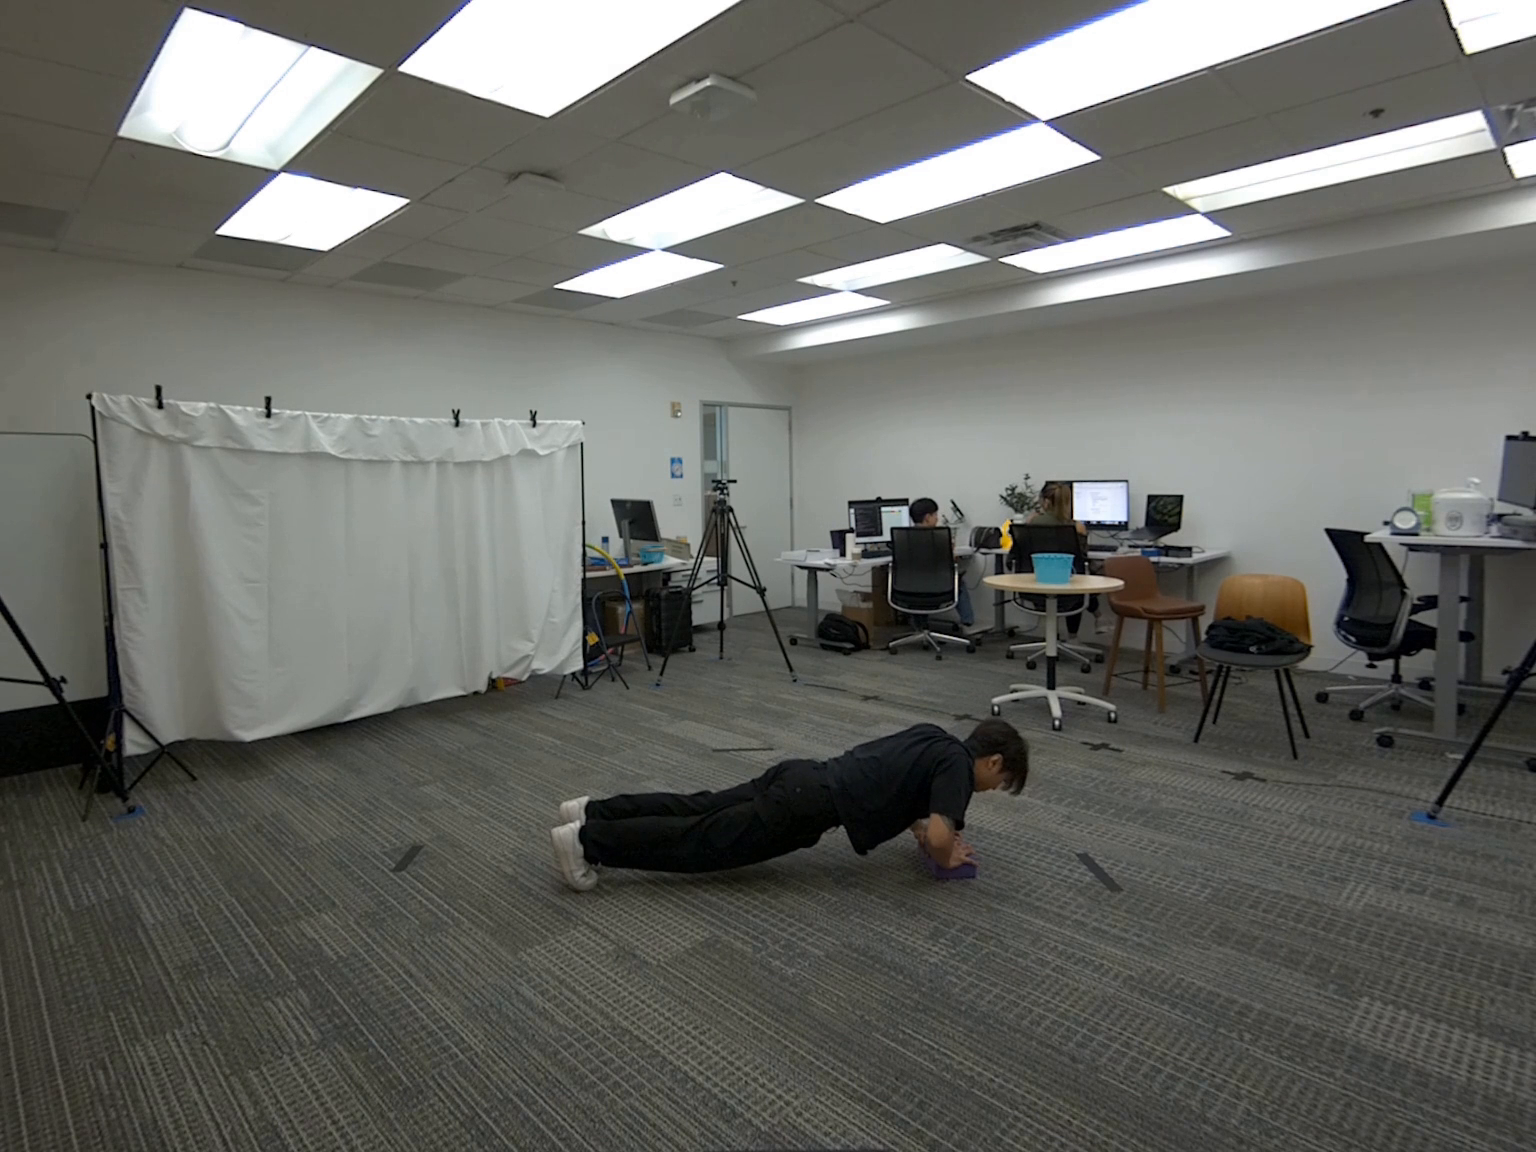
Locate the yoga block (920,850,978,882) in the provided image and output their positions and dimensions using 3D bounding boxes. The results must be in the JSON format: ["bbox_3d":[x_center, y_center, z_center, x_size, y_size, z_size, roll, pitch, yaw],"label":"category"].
[{"bbox_3d":[0.638,1.000,3.070,0.148,0.076,0.231,0,5,-6],"label":"yoga block"}]
